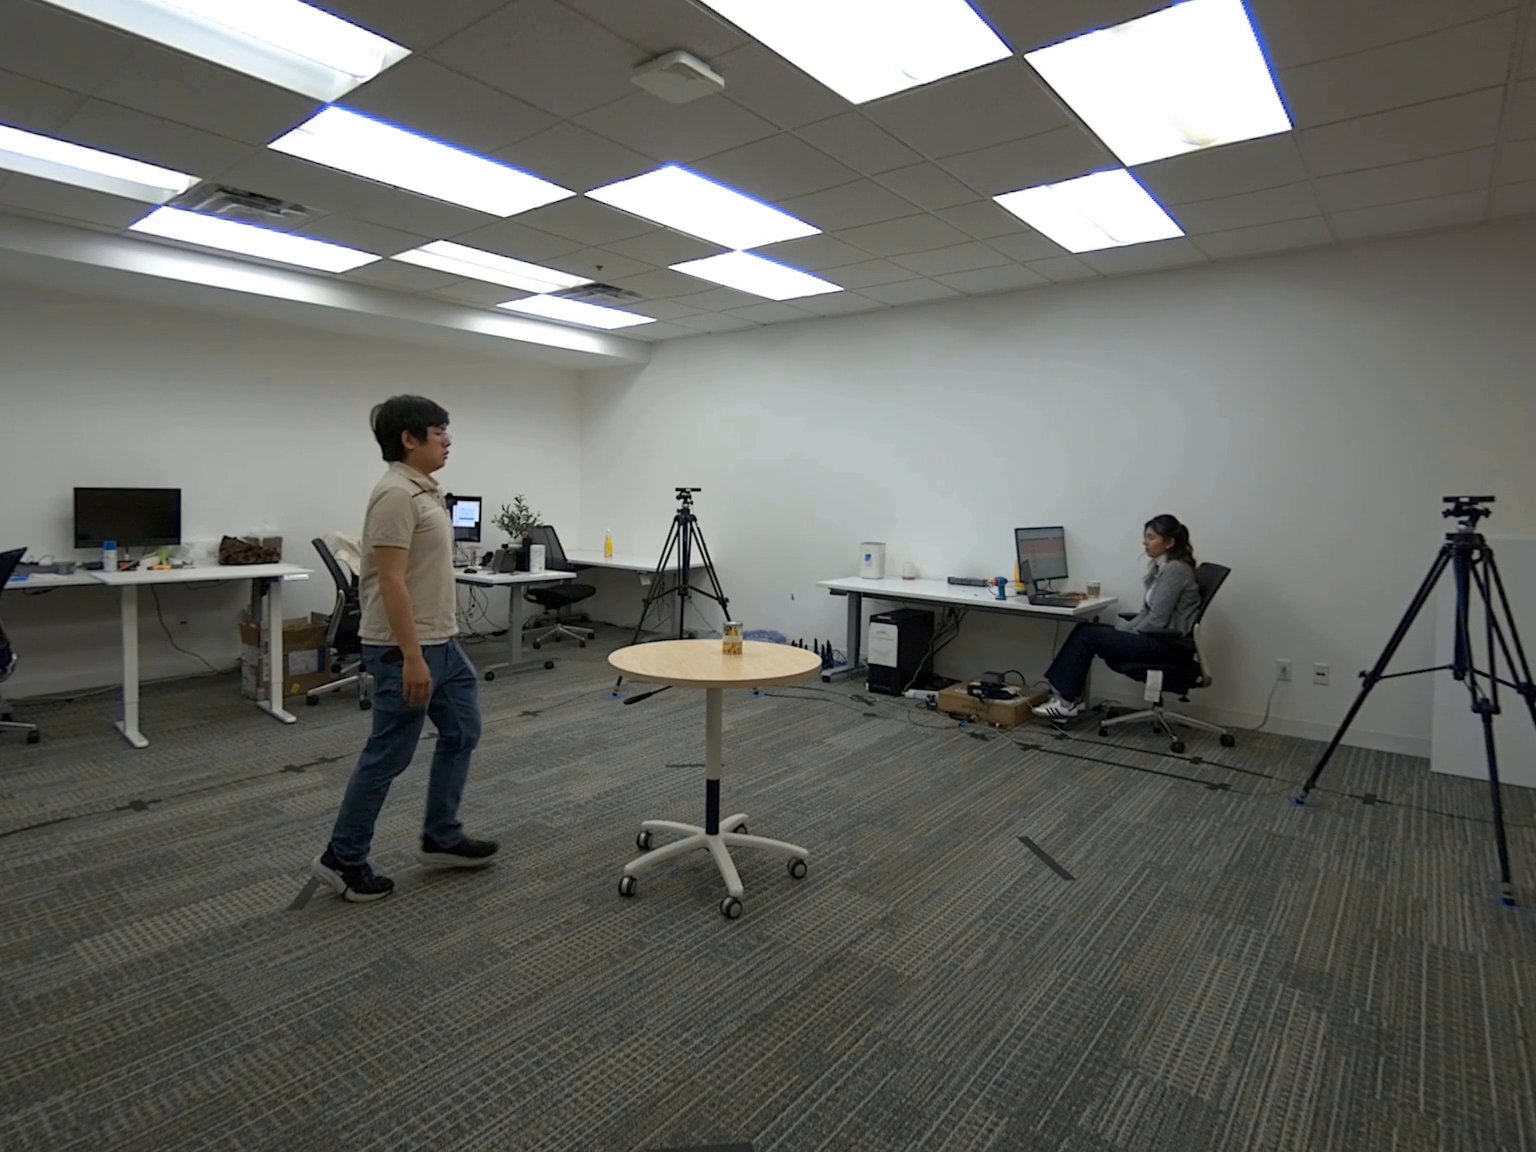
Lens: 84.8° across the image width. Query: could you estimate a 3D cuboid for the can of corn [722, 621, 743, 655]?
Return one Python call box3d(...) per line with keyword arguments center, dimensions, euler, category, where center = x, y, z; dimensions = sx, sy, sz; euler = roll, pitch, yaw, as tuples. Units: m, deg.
box3d(center=(-0.146, 0.231, 3.148), dimensions=(0.074, 0.110, 0.075), euler=(1, 6, -2), category="can of corn")
